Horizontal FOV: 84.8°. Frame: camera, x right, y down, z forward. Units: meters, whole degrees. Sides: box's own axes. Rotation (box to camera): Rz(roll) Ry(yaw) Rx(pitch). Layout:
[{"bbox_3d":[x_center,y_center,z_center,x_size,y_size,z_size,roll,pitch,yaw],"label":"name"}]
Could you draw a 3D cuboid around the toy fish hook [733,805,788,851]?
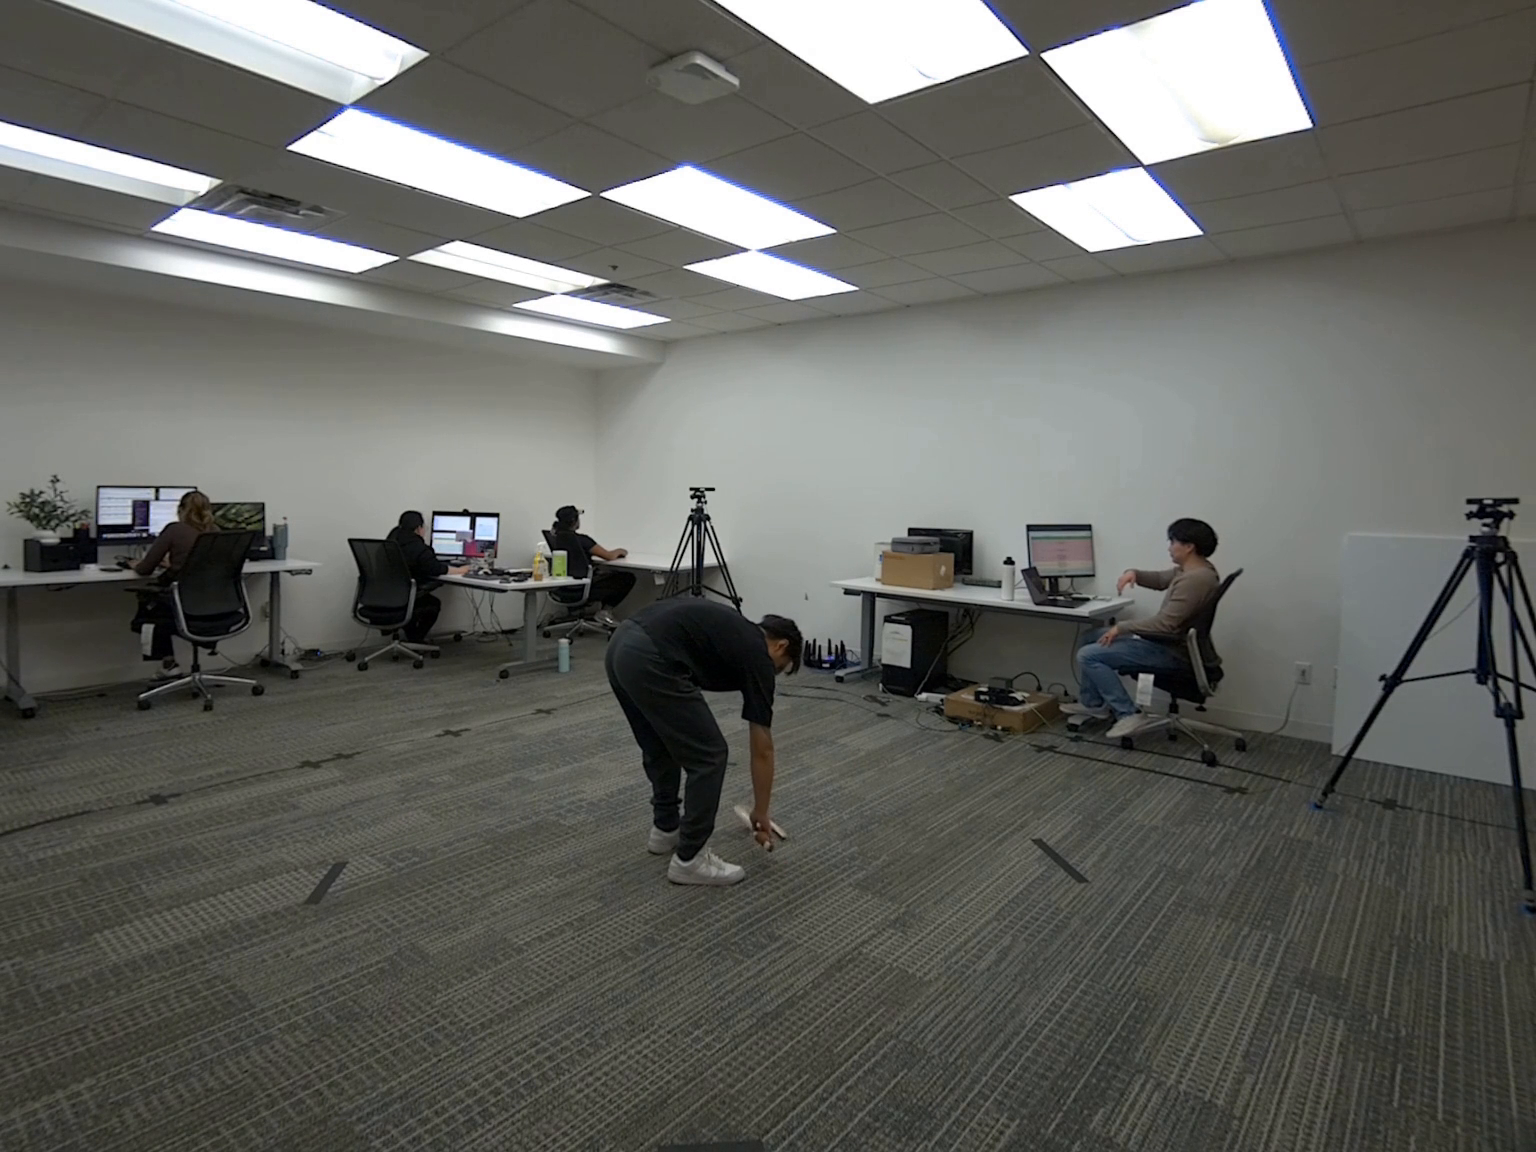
[{"bbox_3d":[-0.017,0.983,3.282,0.222,0.048,0.511,22,-2,-9],"label":"toy fish hook"}]
